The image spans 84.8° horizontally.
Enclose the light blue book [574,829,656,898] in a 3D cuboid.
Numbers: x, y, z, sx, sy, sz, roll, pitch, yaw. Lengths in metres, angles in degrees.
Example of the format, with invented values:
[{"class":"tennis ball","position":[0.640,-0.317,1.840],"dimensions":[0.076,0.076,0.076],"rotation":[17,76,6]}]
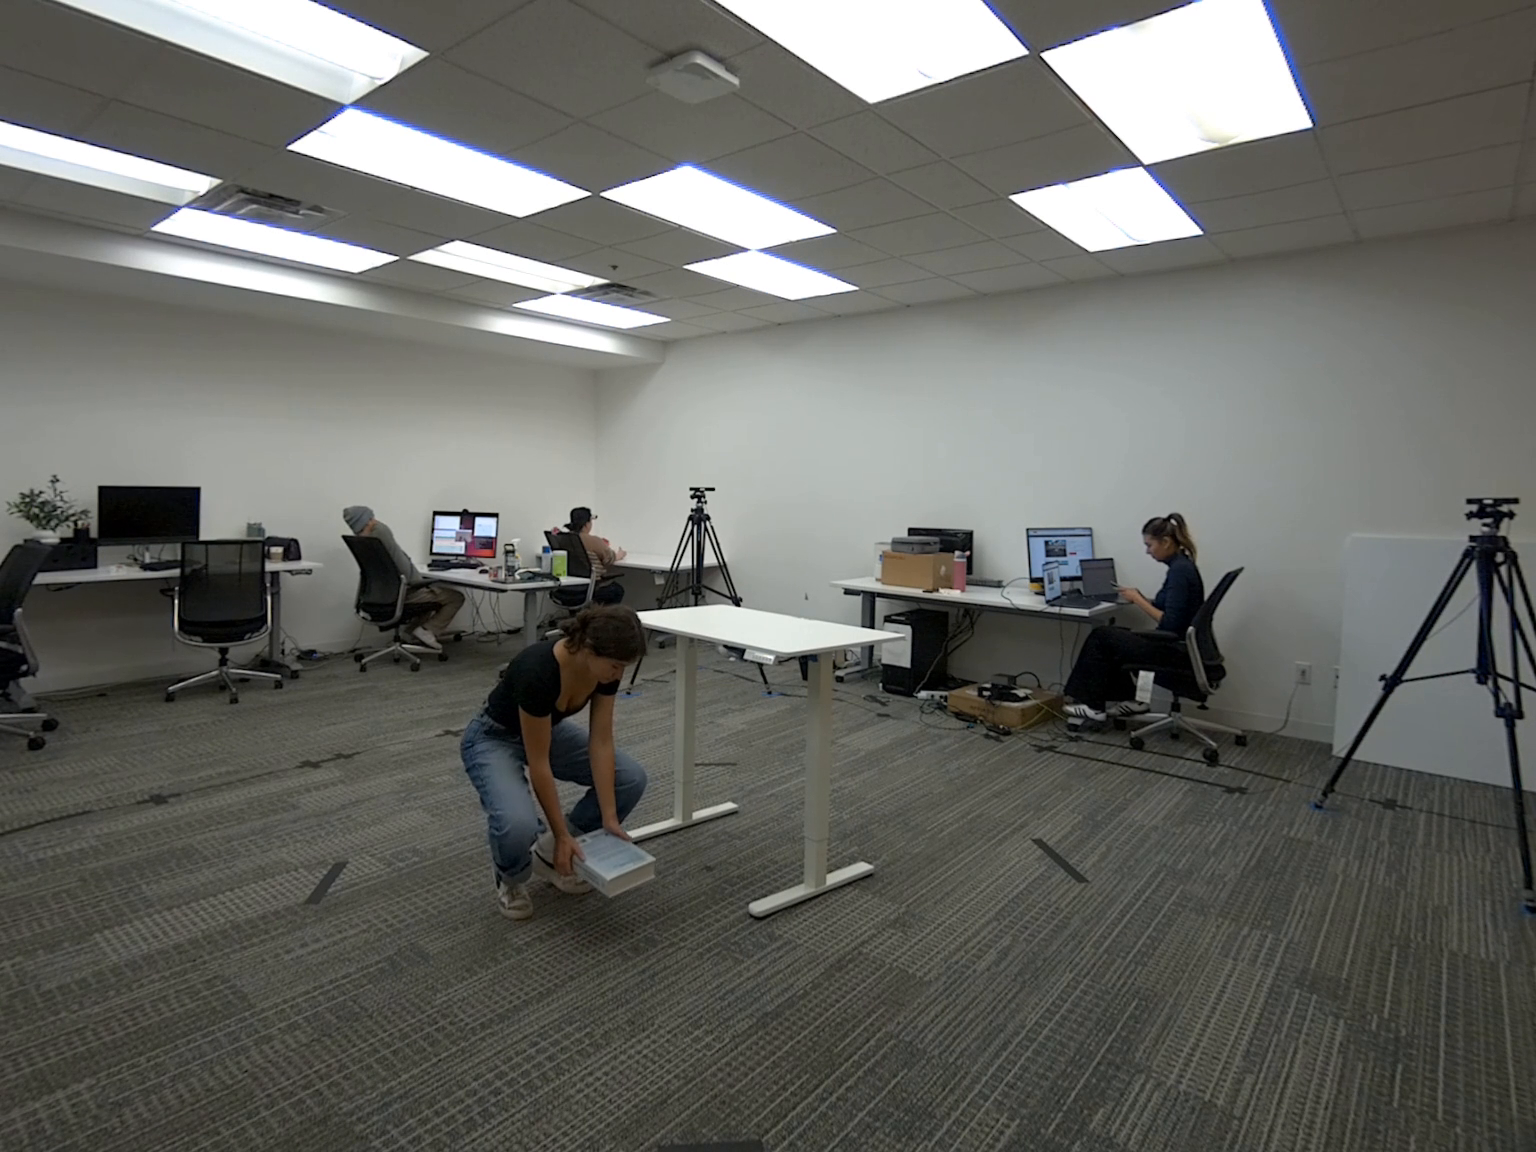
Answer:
[{"class":"light blue book","position":[-0.512,0.891,2.663],"dimensions":[0.271,0.058,0.186],"rotation":[14,15,43]}]
